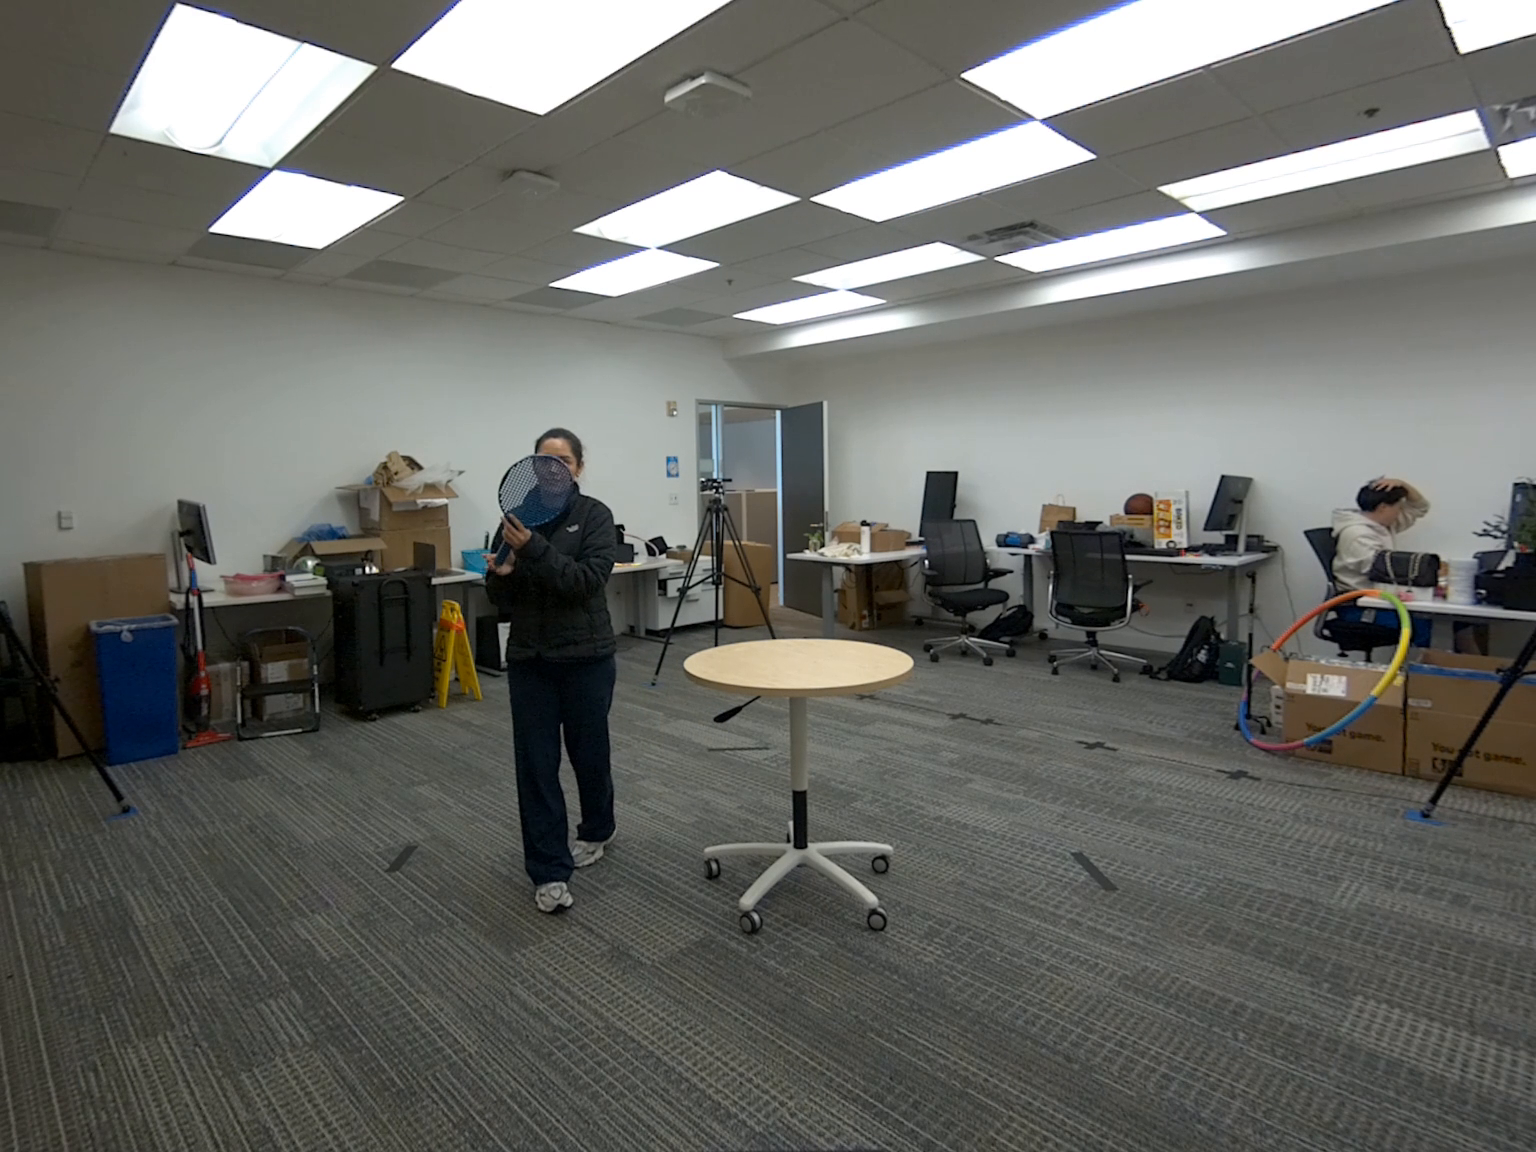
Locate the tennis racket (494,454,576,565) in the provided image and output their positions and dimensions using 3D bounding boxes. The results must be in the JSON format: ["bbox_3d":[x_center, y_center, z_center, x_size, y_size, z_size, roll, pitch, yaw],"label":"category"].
[{"bbox_3d":[-0.735,-0.191,2.680,0.210,0.424,0.033,-2,38,-16],"label":"tennis racket"}]
